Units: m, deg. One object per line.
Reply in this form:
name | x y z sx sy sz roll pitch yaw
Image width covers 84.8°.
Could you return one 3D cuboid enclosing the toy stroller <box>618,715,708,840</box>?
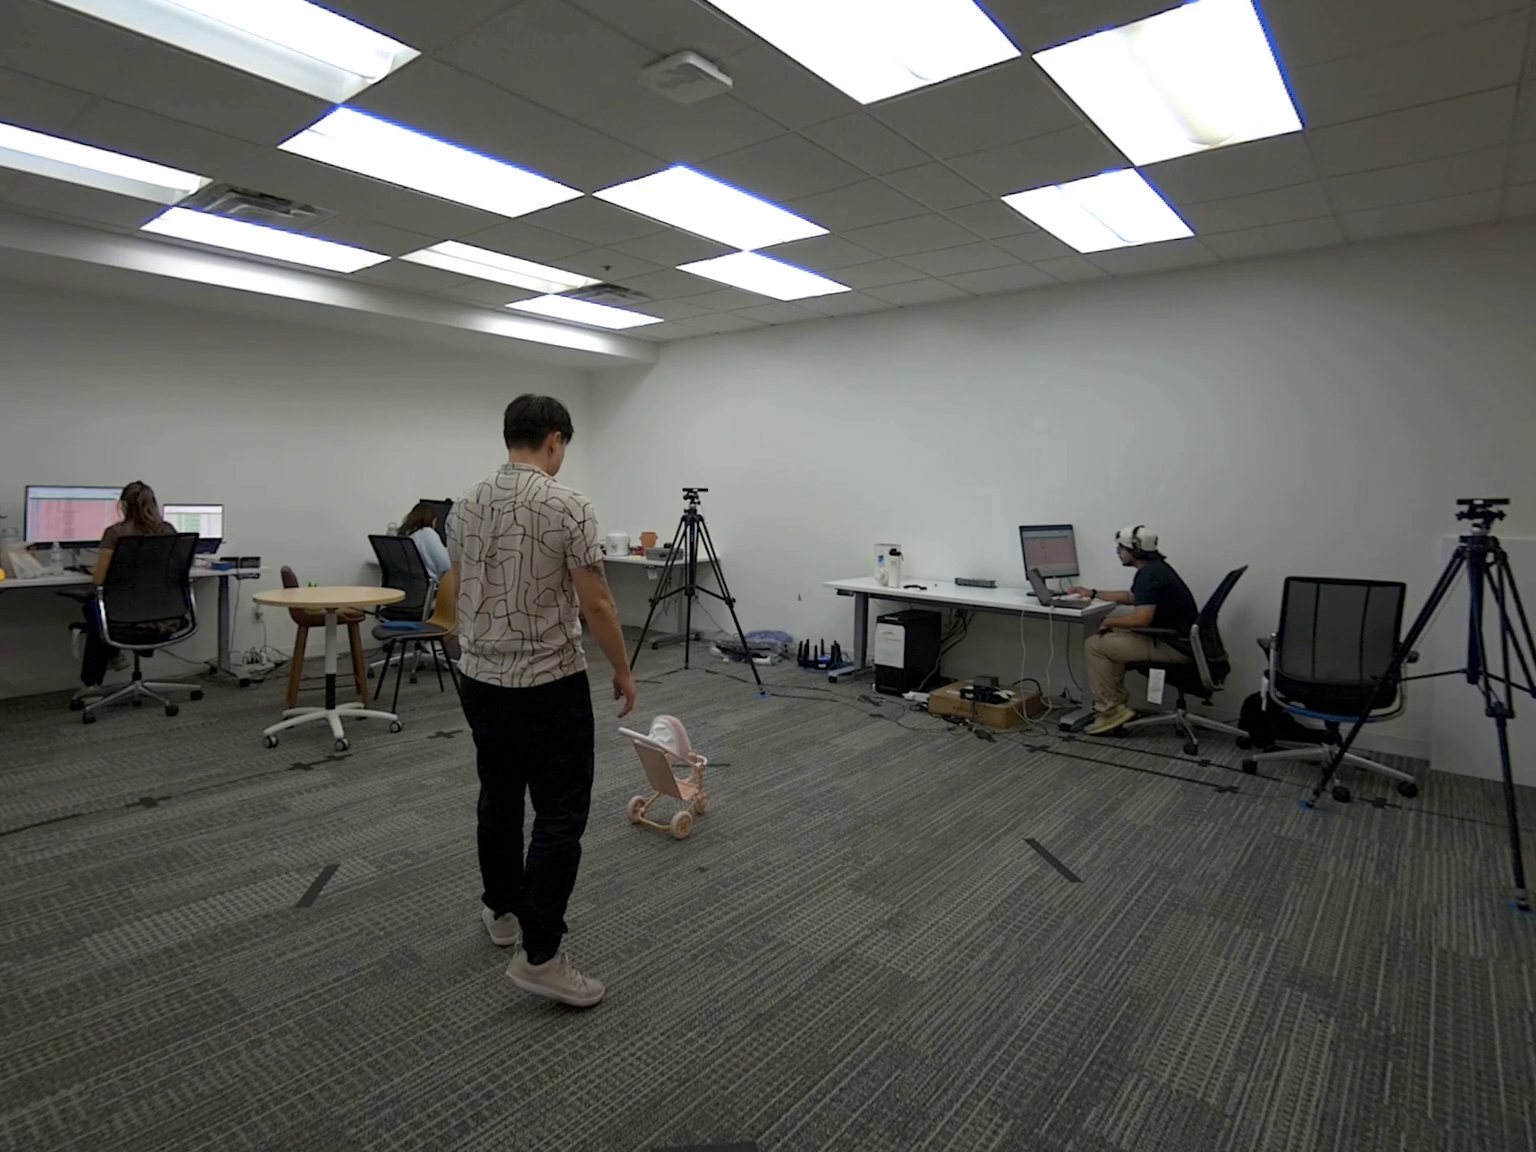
toy stroller | -0.412 0.801 3.498 0.291 0.526 0.335 4 20 43
